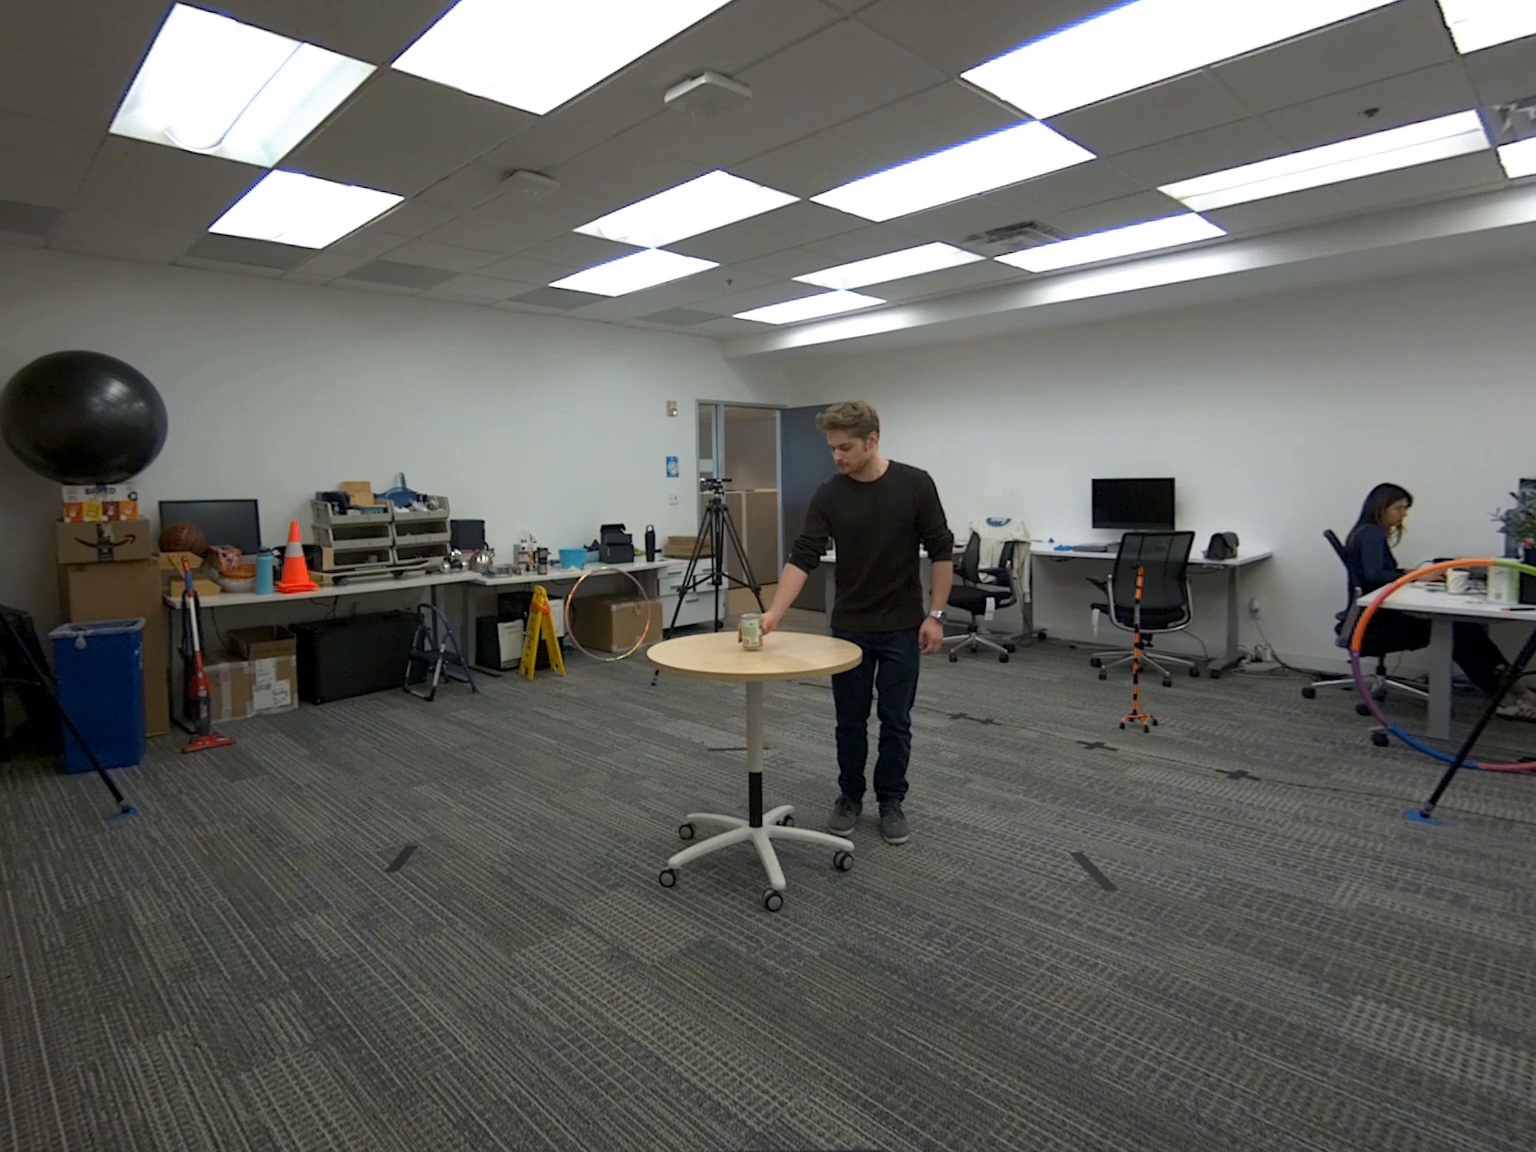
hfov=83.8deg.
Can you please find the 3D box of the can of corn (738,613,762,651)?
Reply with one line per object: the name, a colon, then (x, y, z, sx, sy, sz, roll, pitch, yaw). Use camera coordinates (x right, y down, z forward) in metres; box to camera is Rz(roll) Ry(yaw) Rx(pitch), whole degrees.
can of corn: (-0.059, 0.198, 3.048, 0.074, 0.110, 0.075, -2, 8, -1)
